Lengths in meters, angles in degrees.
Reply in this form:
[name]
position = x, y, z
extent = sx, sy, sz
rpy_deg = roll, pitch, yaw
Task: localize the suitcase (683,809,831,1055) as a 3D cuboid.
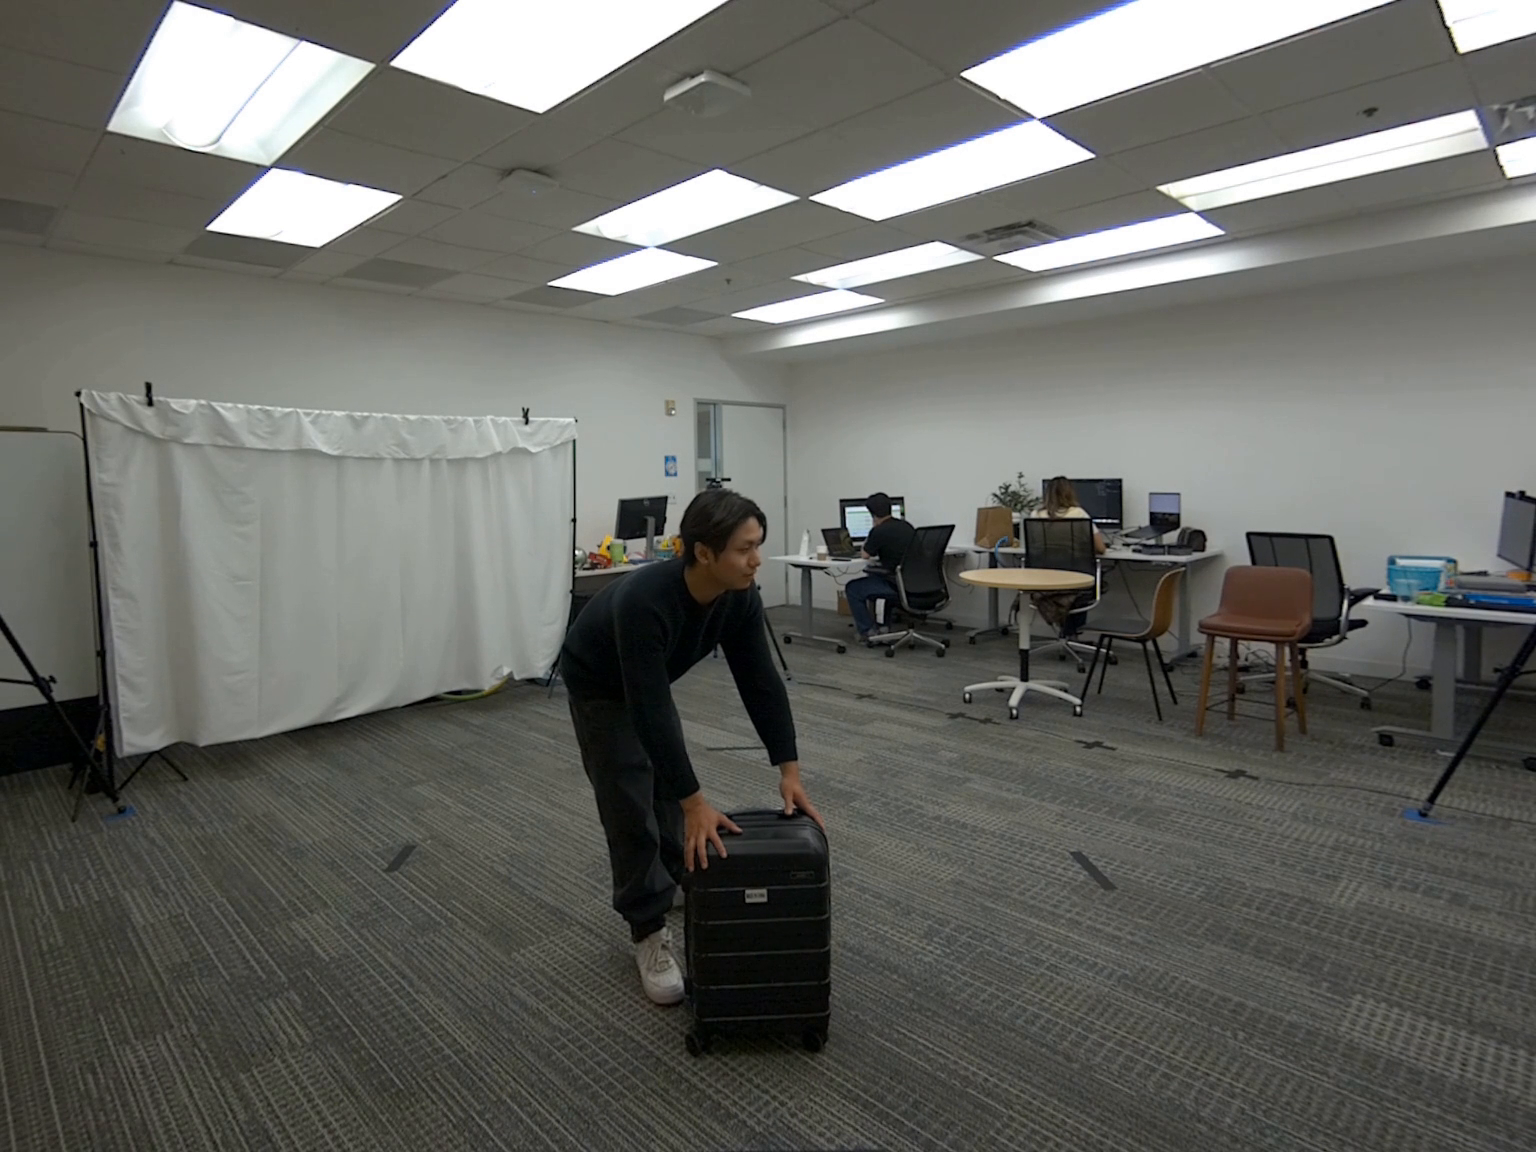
[suitcase]
position = -0.016, 0.879, 2.162
extent = 0.374, 0.547, 0.250
rpy_deg = -1, 5, -3
